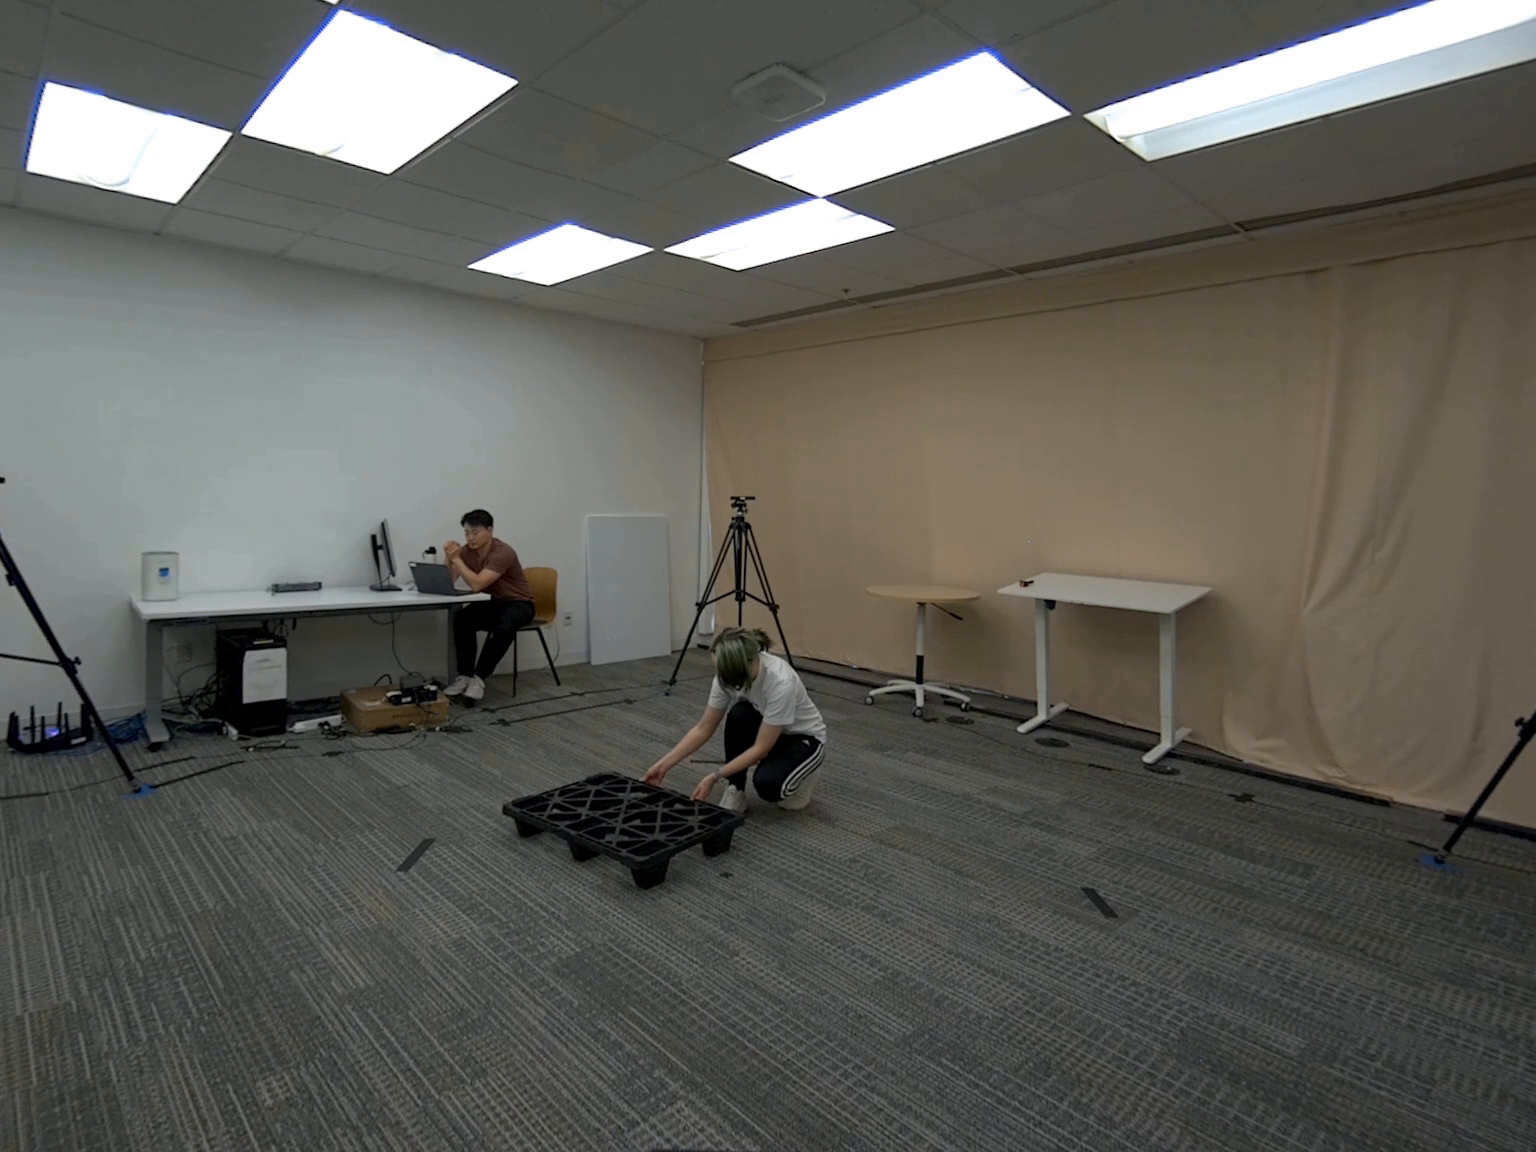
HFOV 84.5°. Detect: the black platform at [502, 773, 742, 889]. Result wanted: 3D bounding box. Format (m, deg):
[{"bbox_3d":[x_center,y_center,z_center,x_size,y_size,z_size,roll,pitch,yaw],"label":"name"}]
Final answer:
[{"bbox_3d":[-0.590,1.003,3.364,0.825,0.143,0.592,5,7,38],"label":"black platform"}]
